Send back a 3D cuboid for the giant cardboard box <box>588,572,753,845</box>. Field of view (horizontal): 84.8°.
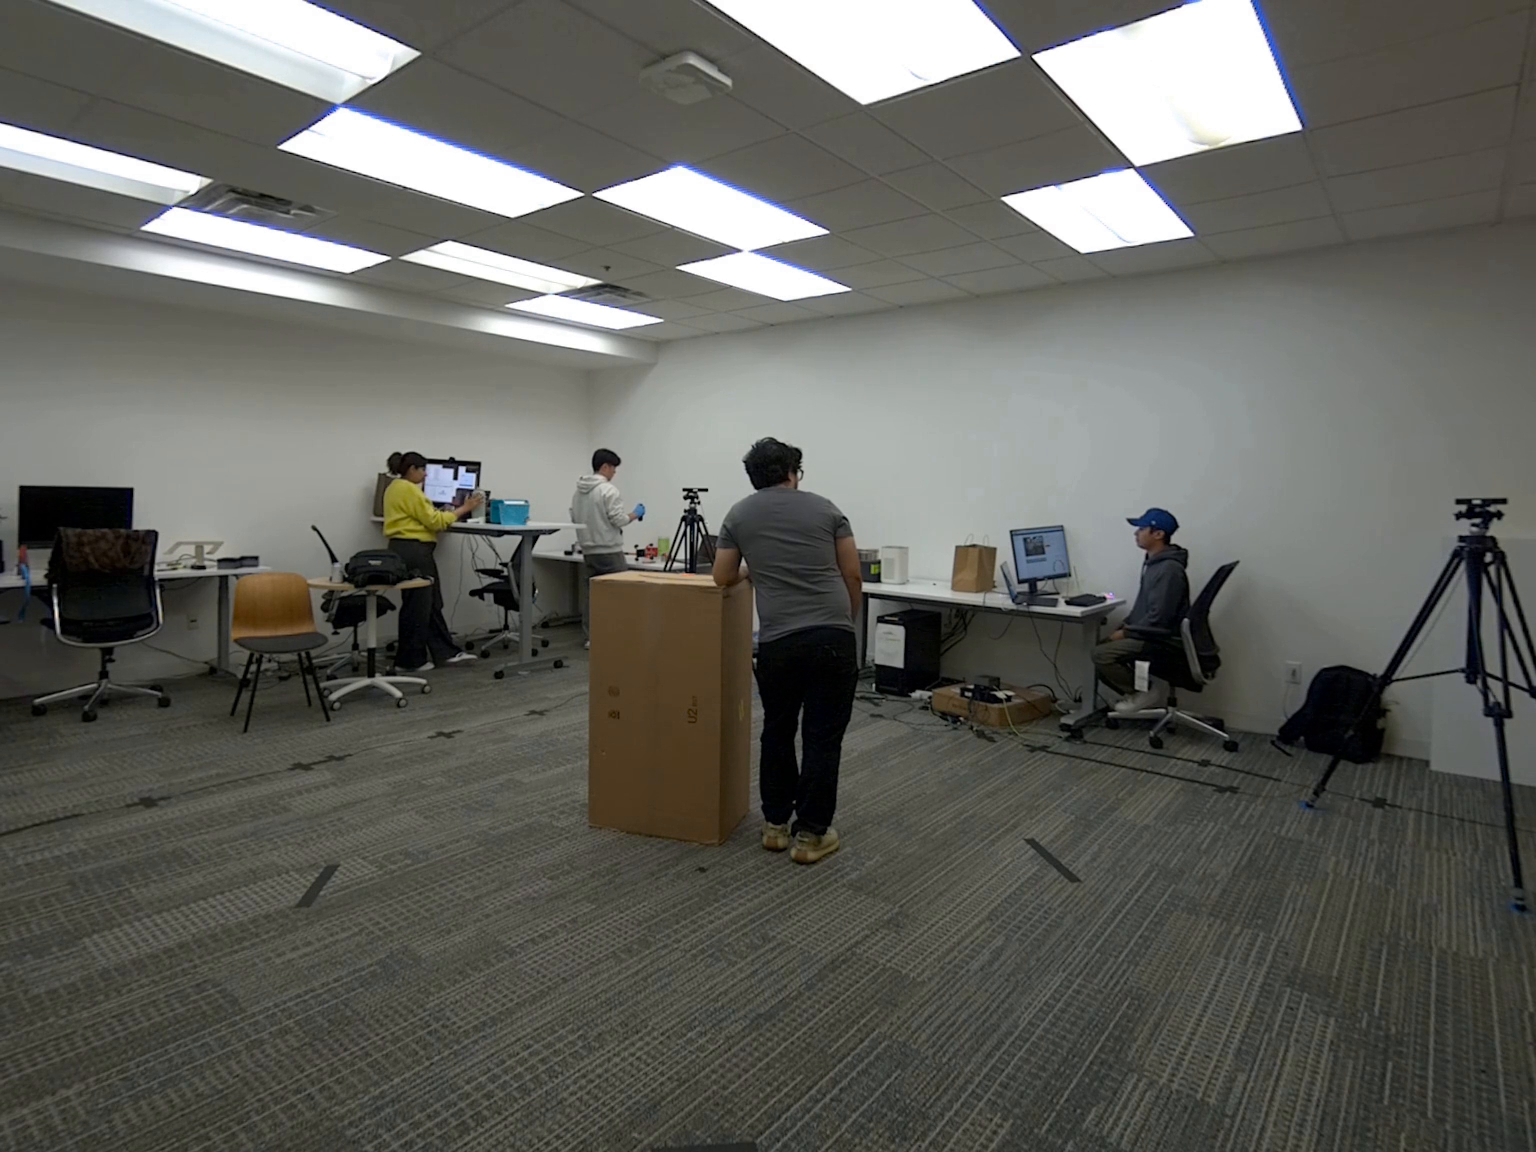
[{"bbox_3d":[-0.418,0.513,3.586,0.589,1.023,0.419,2,3,19],"label":"giant cardboard box"}]
